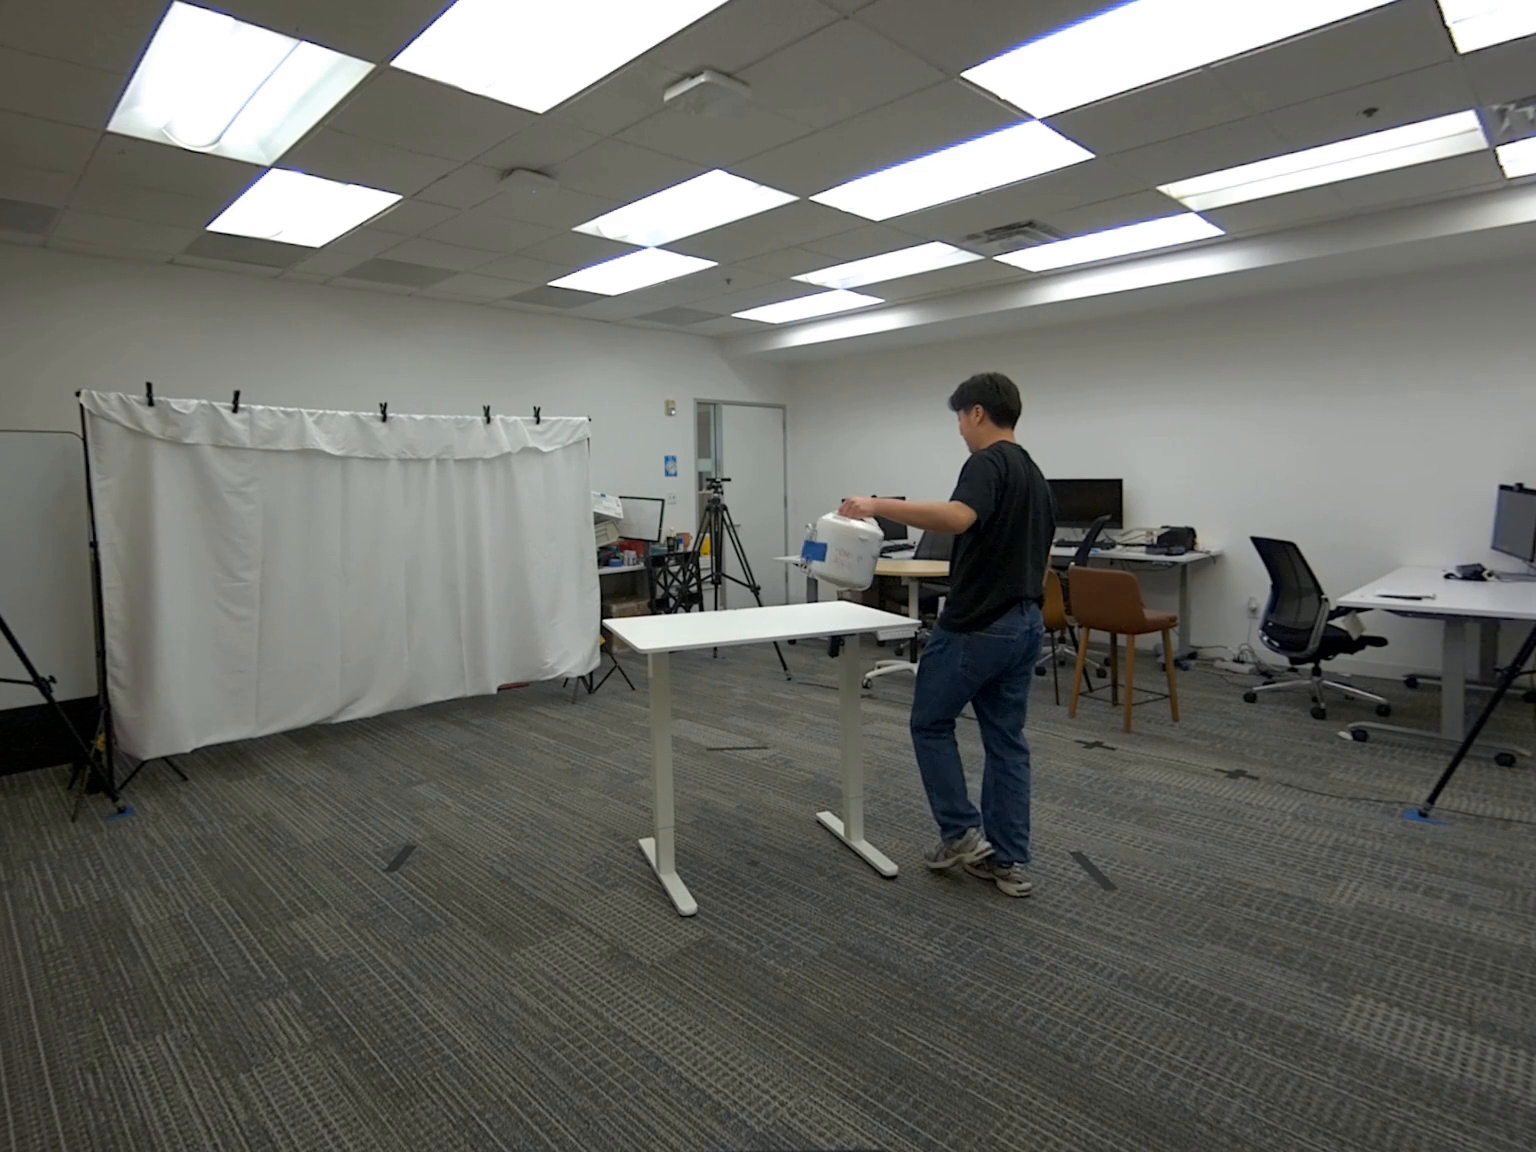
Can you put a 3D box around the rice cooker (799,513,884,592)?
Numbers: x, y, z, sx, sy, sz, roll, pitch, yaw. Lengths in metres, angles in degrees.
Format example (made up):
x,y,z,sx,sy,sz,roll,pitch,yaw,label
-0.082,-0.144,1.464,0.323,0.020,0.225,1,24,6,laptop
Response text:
x,y,z,sx,sy,sz,roll,pitch,yaw,label
0.247,-0.083,2.662,0.228,0.232,0.211,18,7,33,rice cooker
